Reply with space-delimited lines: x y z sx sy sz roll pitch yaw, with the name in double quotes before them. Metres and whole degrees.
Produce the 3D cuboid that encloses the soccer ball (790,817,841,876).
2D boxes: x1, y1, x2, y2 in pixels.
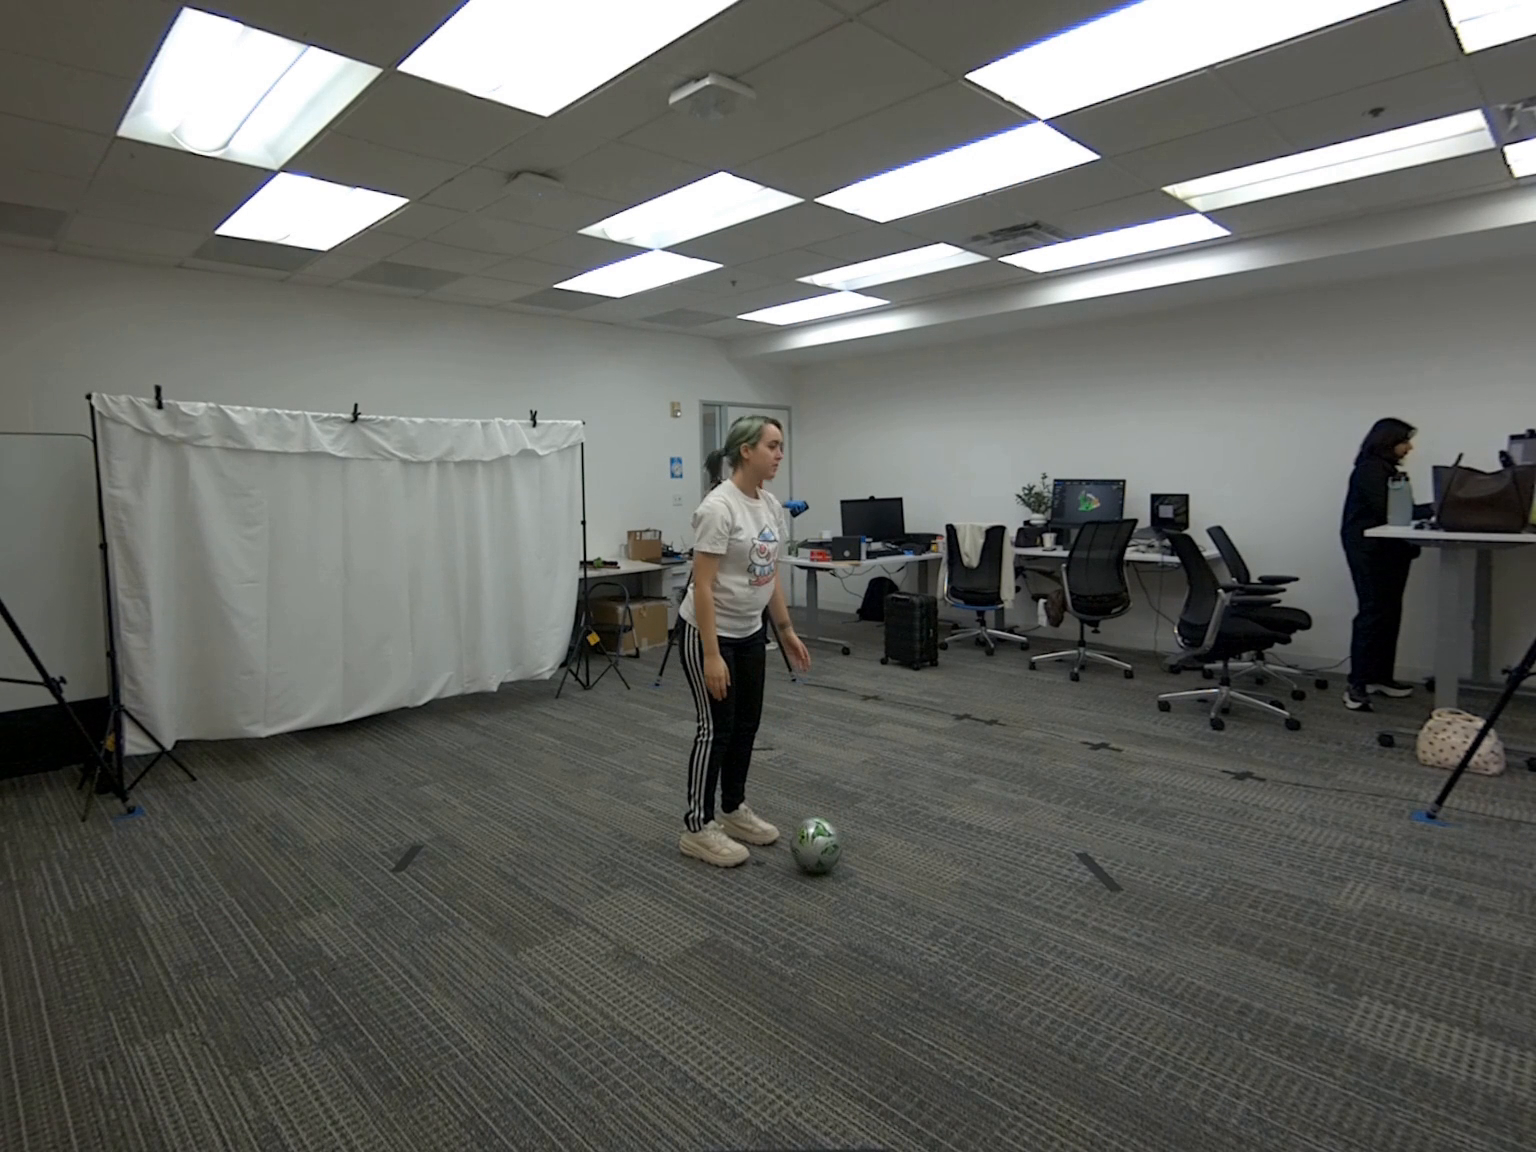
"soccer ball" 0.177 0.958 3.044 0.187 0.187 0.188 -1 5 -2
